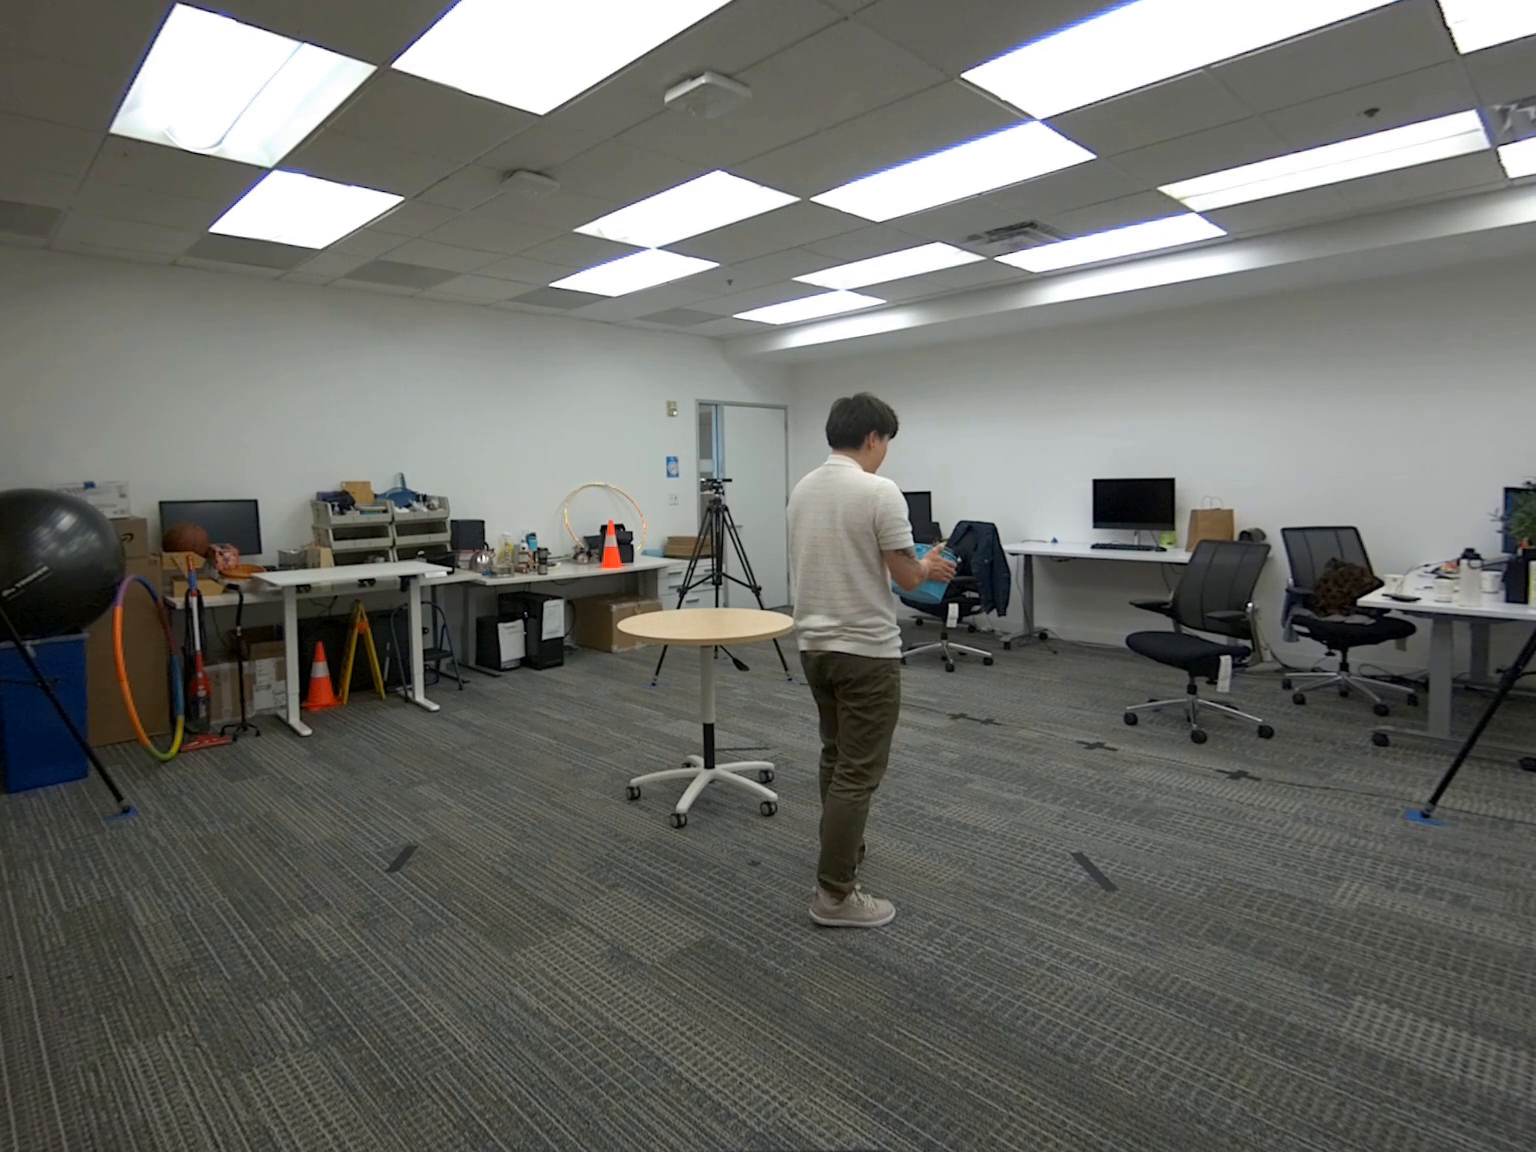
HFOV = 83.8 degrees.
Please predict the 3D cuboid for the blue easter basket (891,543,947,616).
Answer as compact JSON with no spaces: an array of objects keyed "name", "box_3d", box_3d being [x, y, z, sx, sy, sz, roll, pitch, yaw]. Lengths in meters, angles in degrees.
[{"name":"blue easter basket","box_3d":[0.536,0.000,3.000,0.244,0.157,0.241,16,-10,1]}]
